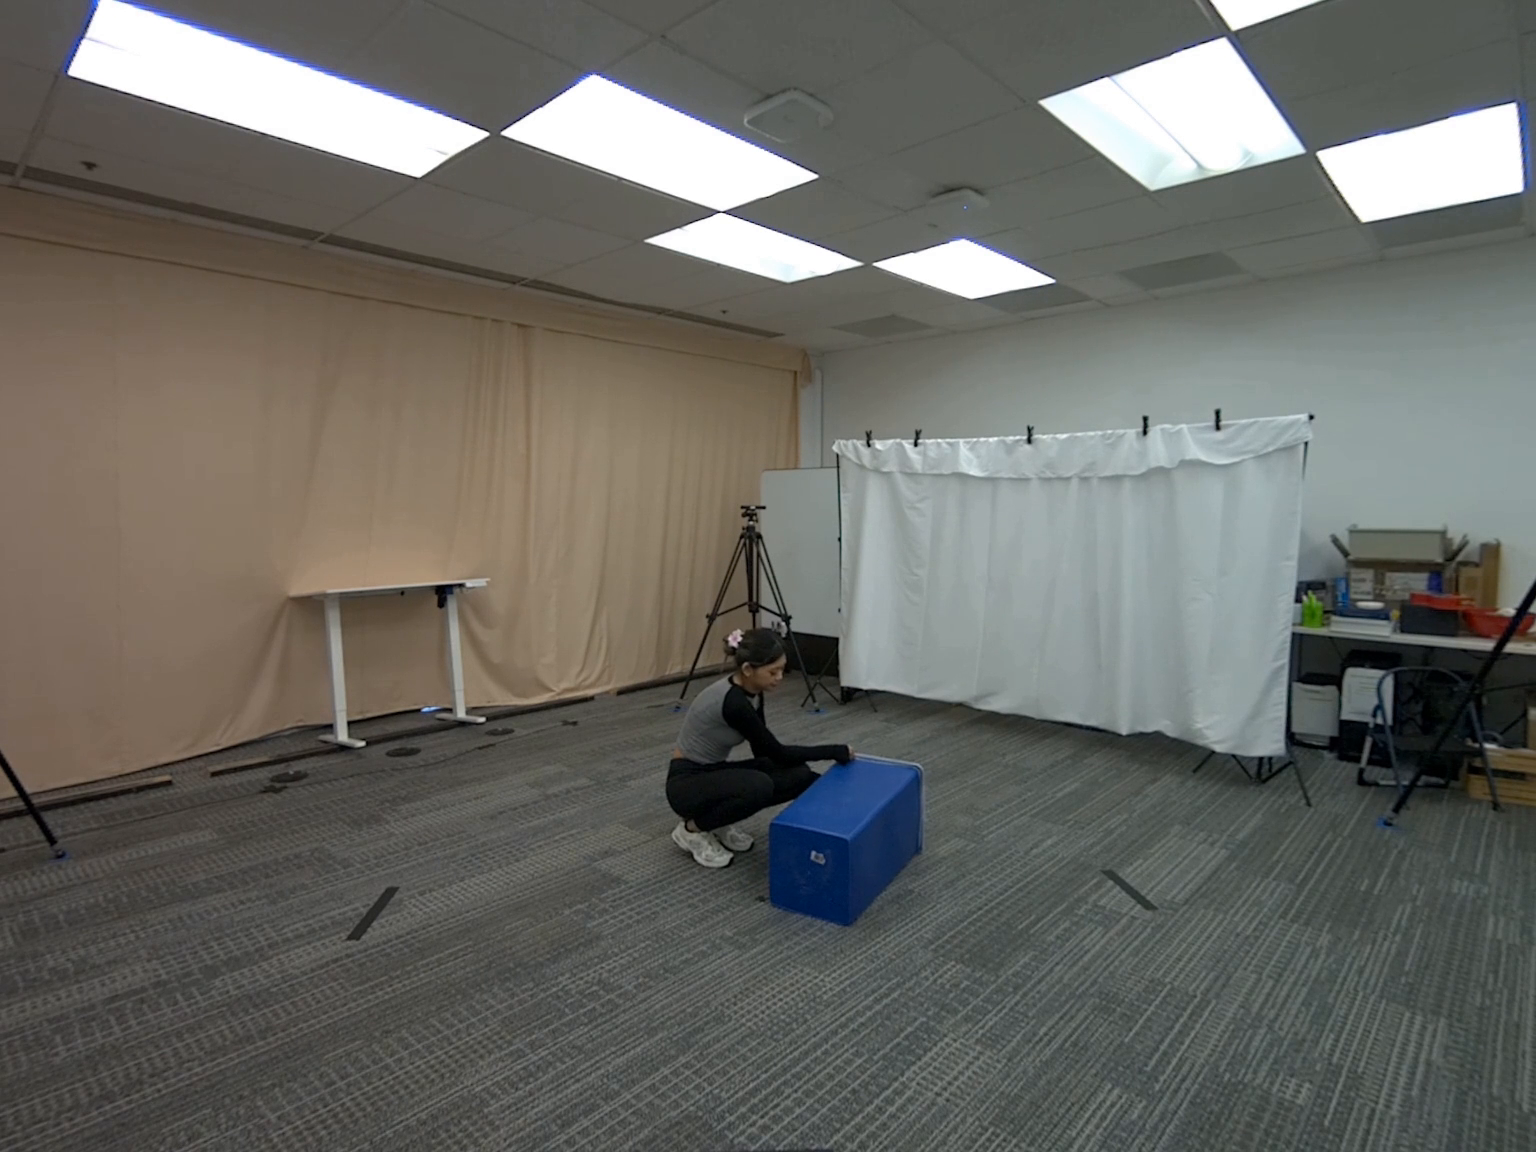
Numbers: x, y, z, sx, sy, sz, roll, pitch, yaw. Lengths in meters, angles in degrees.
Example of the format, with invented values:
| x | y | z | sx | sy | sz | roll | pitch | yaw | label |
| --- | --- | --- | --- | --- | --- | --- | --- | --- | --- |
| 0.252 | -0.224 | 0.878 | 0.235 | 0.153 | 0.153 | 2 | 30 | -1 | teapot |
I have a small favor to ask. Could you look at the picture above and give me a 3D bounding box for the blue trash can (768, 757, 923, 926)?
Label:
| x | y | z | sx | sy | sz | roll | pitch | yaw | label |
| --- | --- | --- | --- | --- | --- | --- | --- | --- | --- |
| 0.302 | 0.962 | 3.137 | 0.385 | 0.377 | 0.696 | 3 | 7 | 28 | blue trash can |
